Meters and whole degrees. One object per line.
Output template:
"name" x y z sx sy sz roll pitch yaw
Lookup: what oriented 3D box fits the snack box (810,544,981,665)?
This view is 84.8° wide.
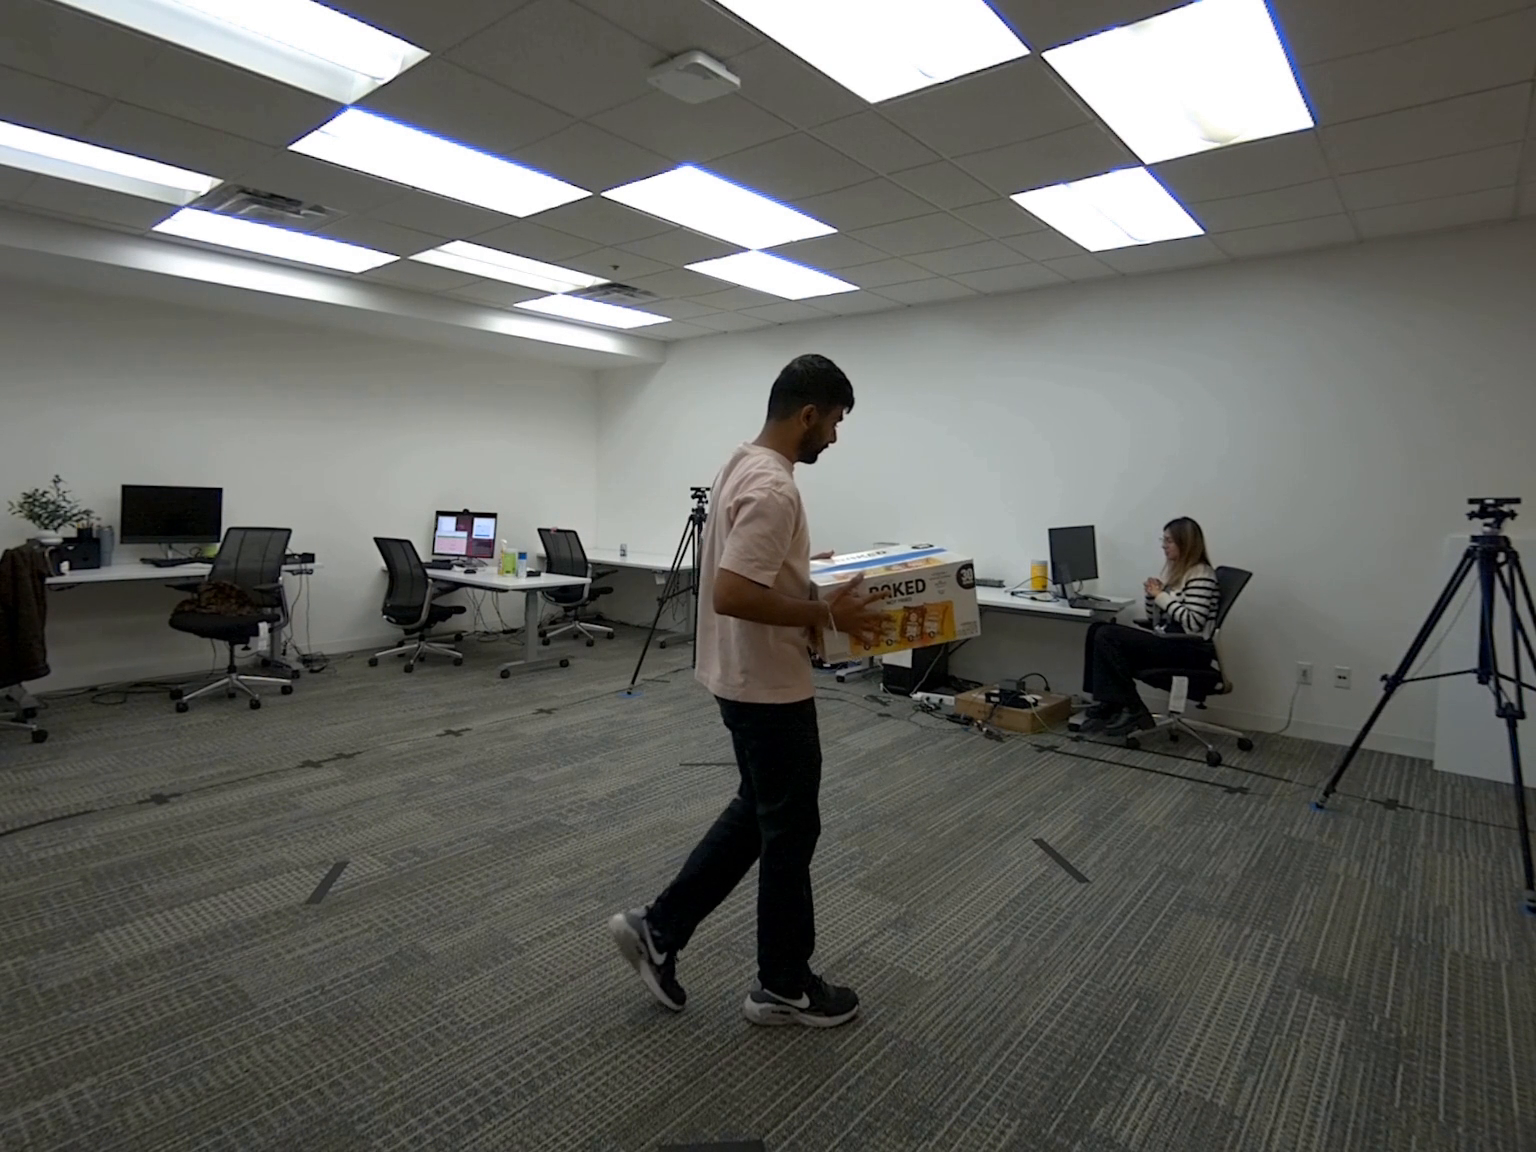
"snack box" 0.286 0.058 2.261 0.402 0.203 0.347 -9 11 -10
